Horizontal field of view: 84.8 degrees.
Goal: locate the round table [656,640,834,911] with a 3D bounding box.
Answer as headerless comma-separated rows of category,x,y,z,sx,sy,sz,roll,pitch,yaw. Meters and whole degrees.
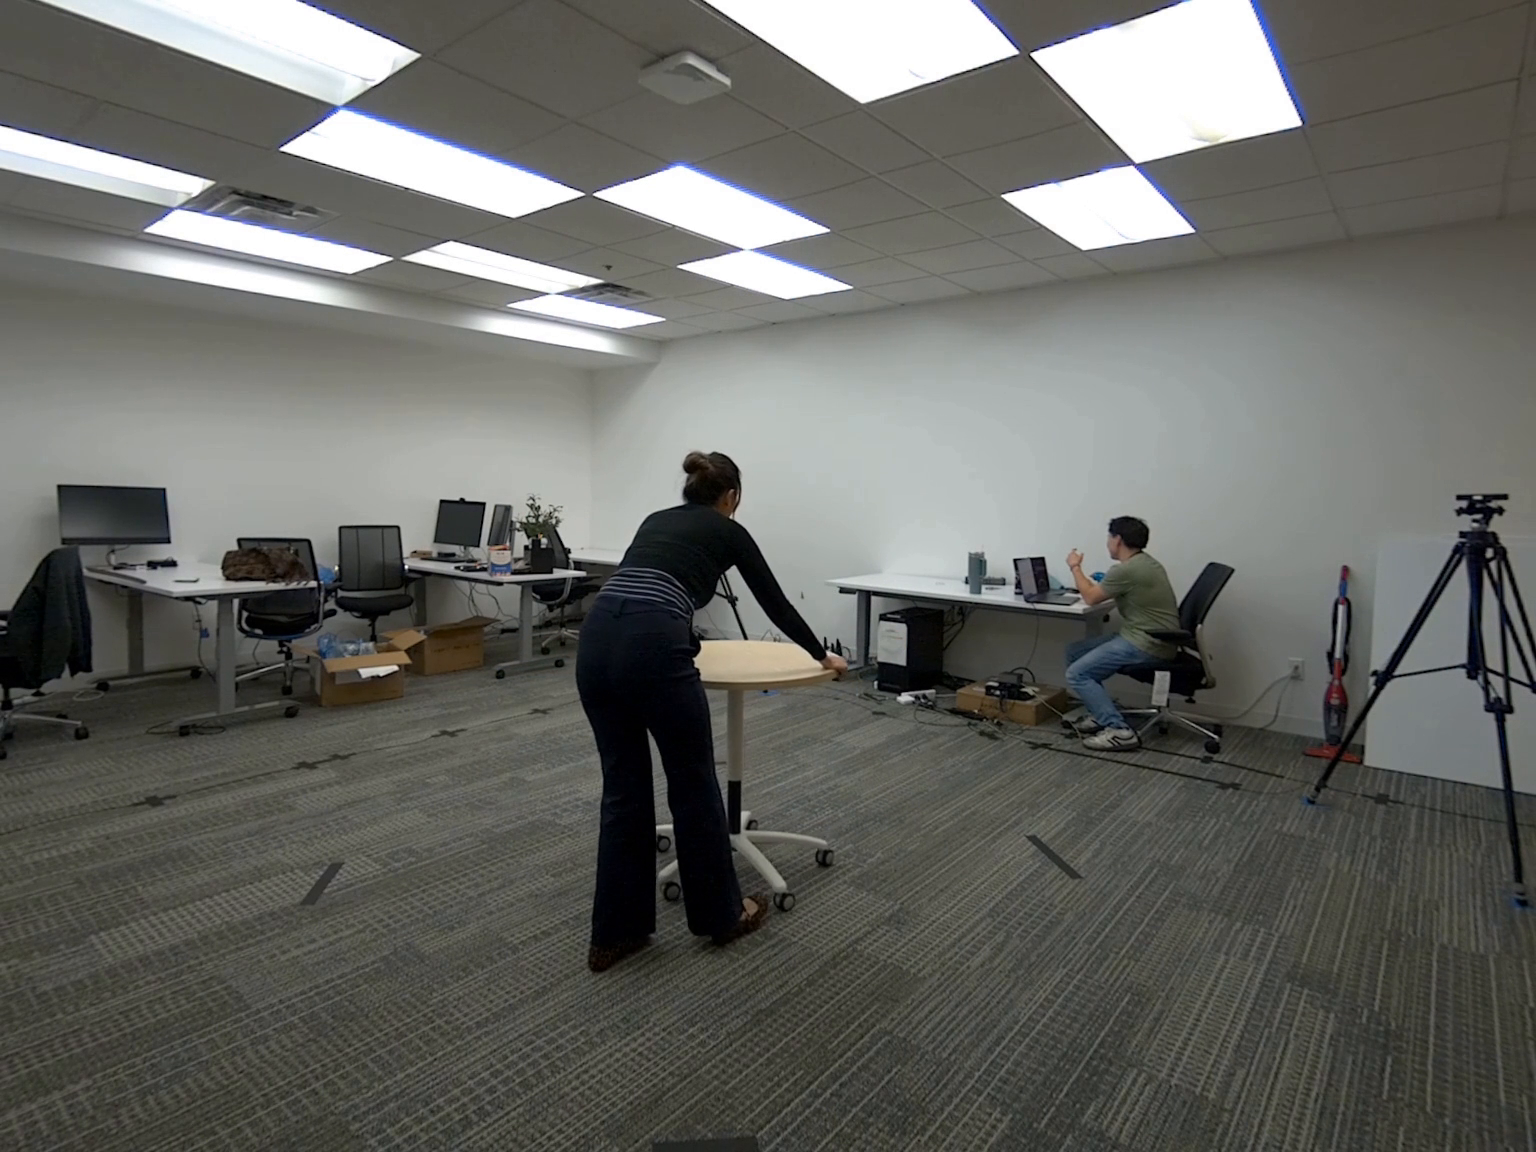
round table,-0.129,0.684,3.090,0.763,0.791,0.767,0,4,-2
